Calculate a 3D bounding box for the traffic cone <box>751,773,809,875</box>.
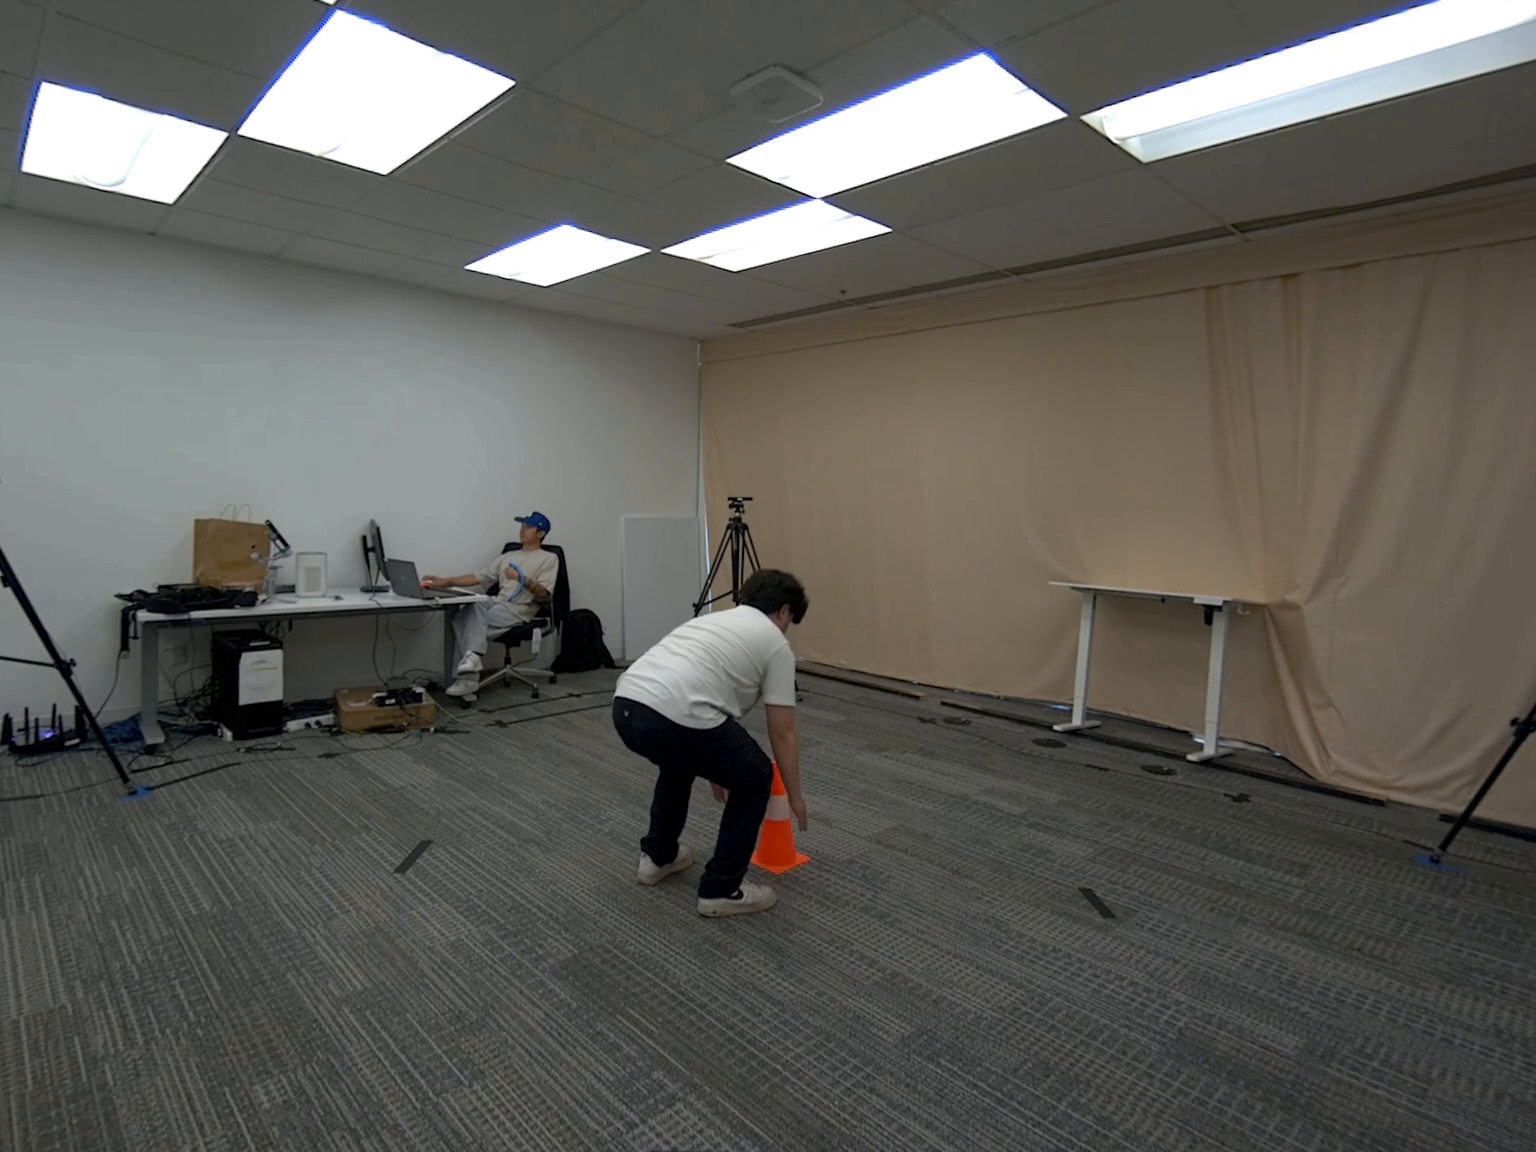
[{"bbox_3d":[0.014,0.911,3.262,0.210,0.383,0.199,2,4,45],"label":"traffic cone"}]
